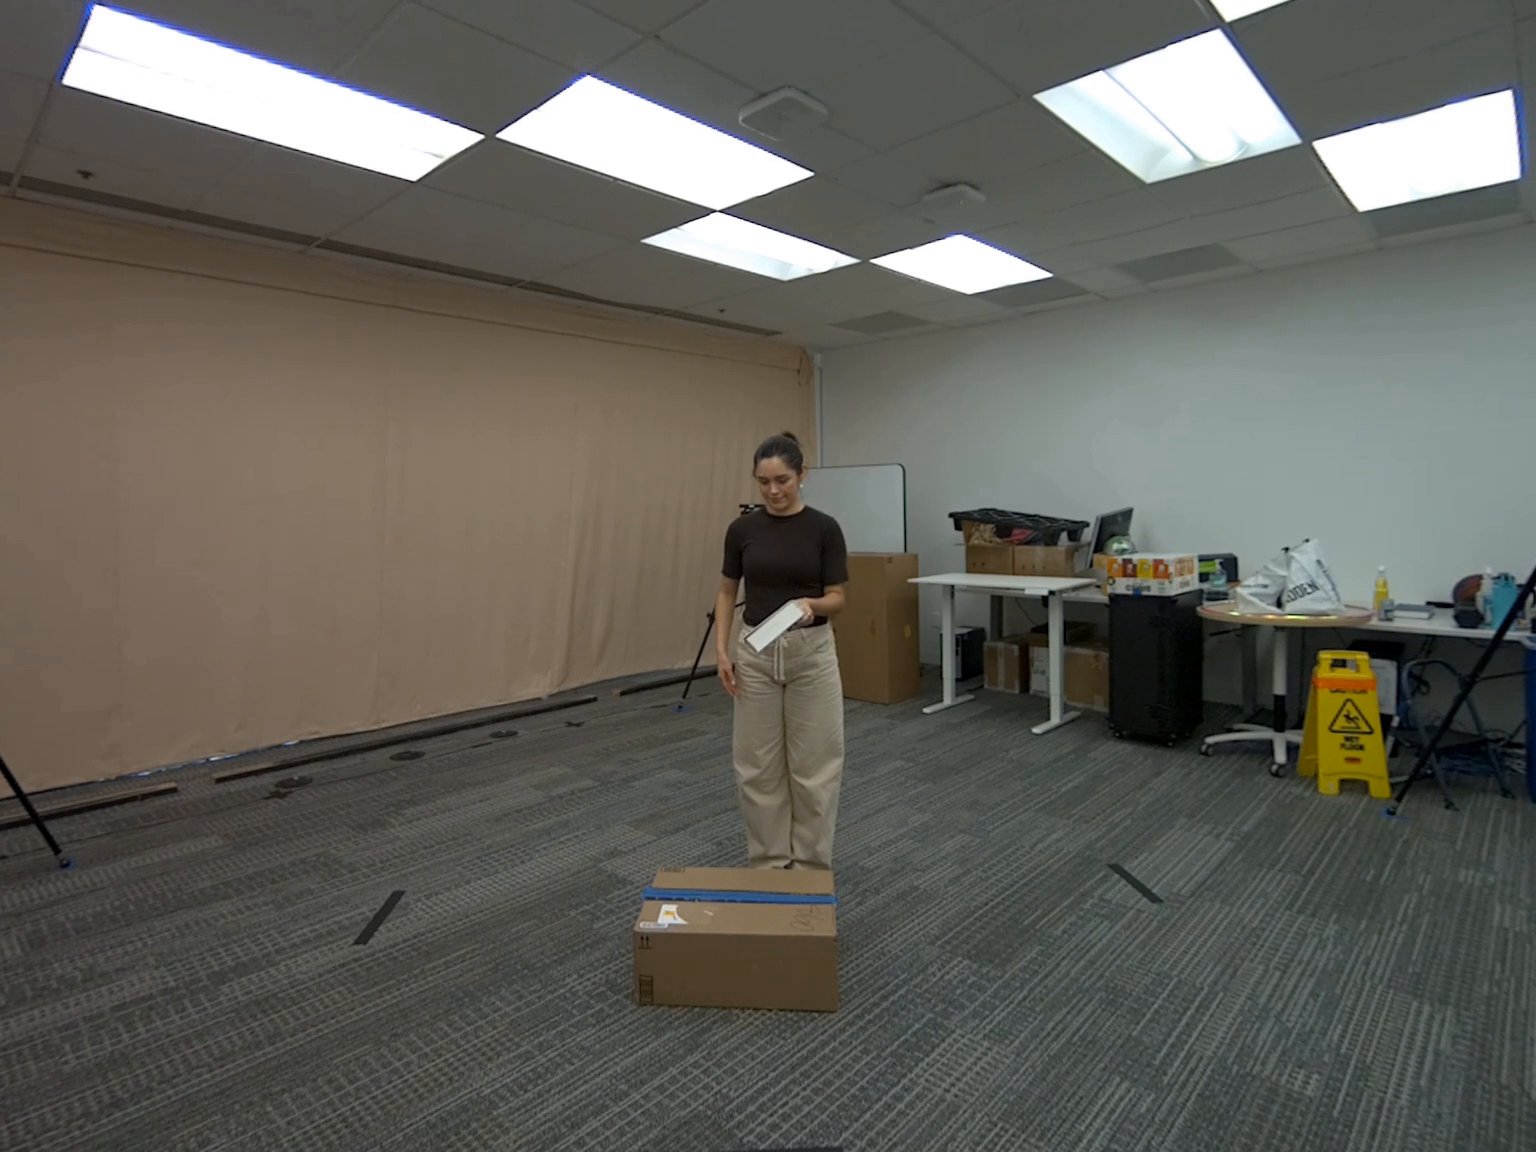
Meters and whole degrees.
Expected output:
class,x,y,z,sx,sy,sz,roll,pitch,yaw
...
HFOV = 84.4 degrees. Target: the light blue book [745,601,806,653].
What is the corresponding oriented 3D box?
class,x,y,z,sx,sy,sz,roll,pitch,yaw
light blue book,0.020,0.169,2.624,0.191,0.059,0.259,-38,-7,-5
